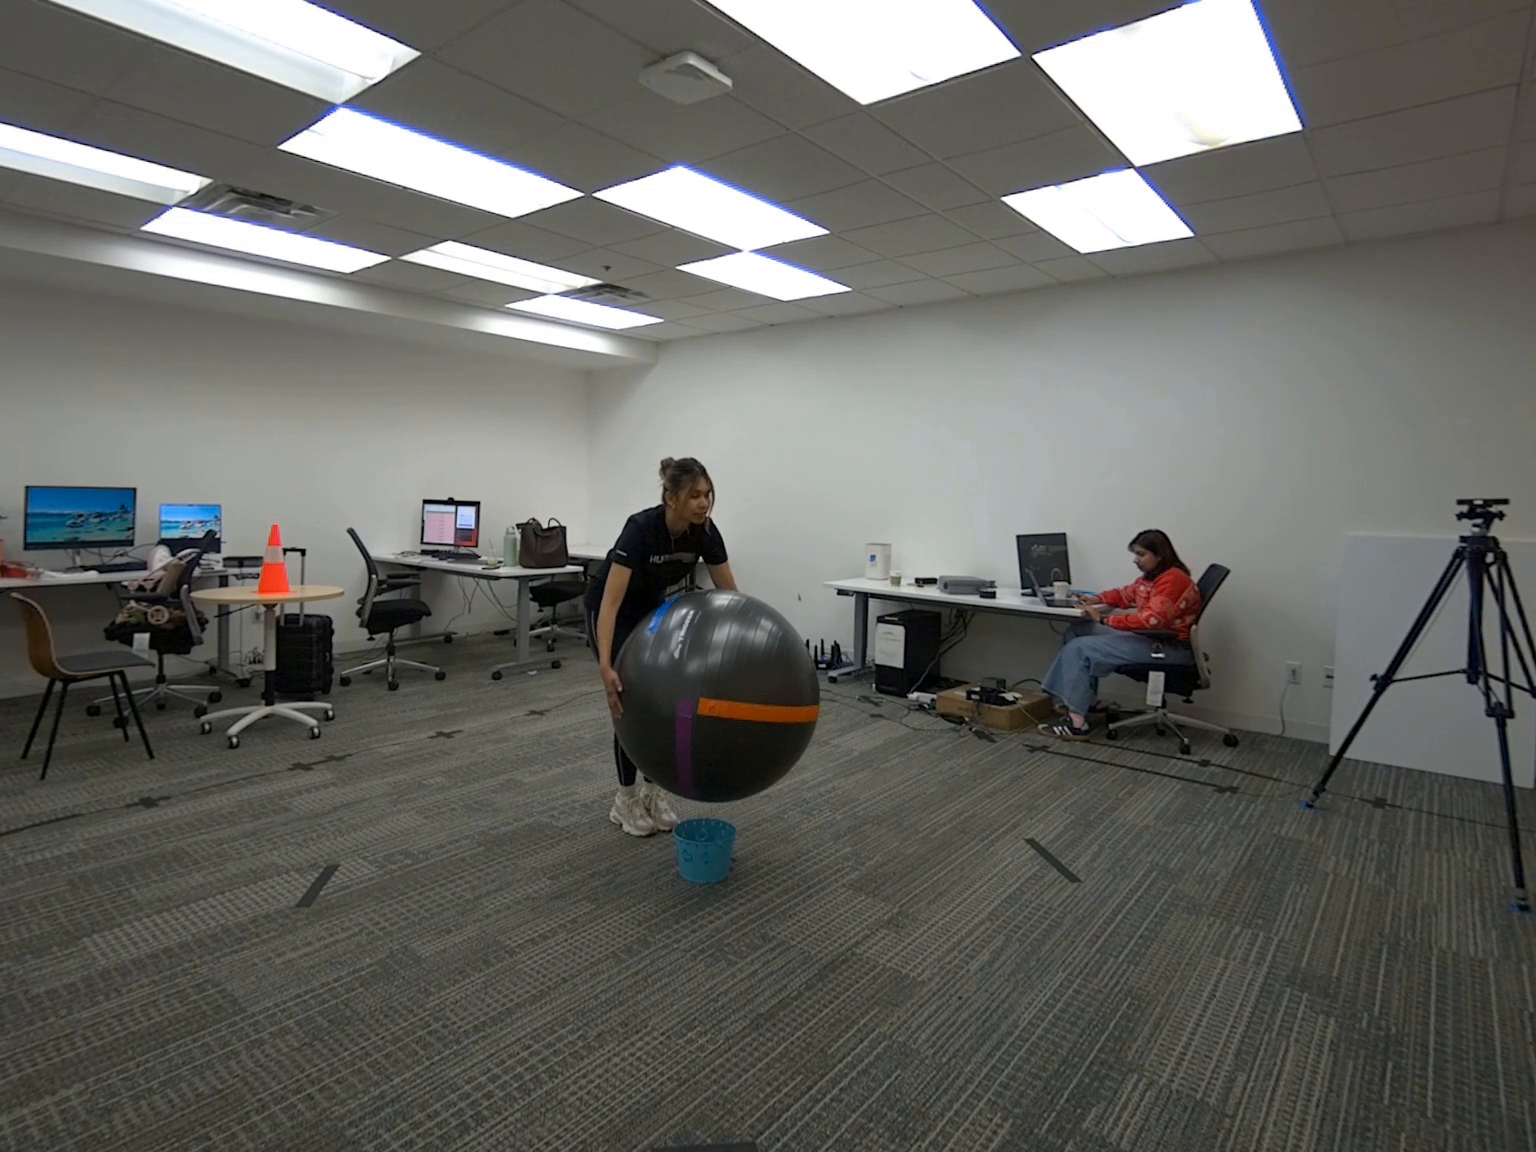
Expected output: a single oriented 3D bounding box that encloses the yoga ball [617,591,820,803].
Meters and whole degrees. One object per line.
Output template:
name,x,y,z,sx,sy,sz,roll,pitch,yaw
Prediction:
yoga ball,-0.202,0.422,3.089,0.757,0.756,0.761,1,4,-2
